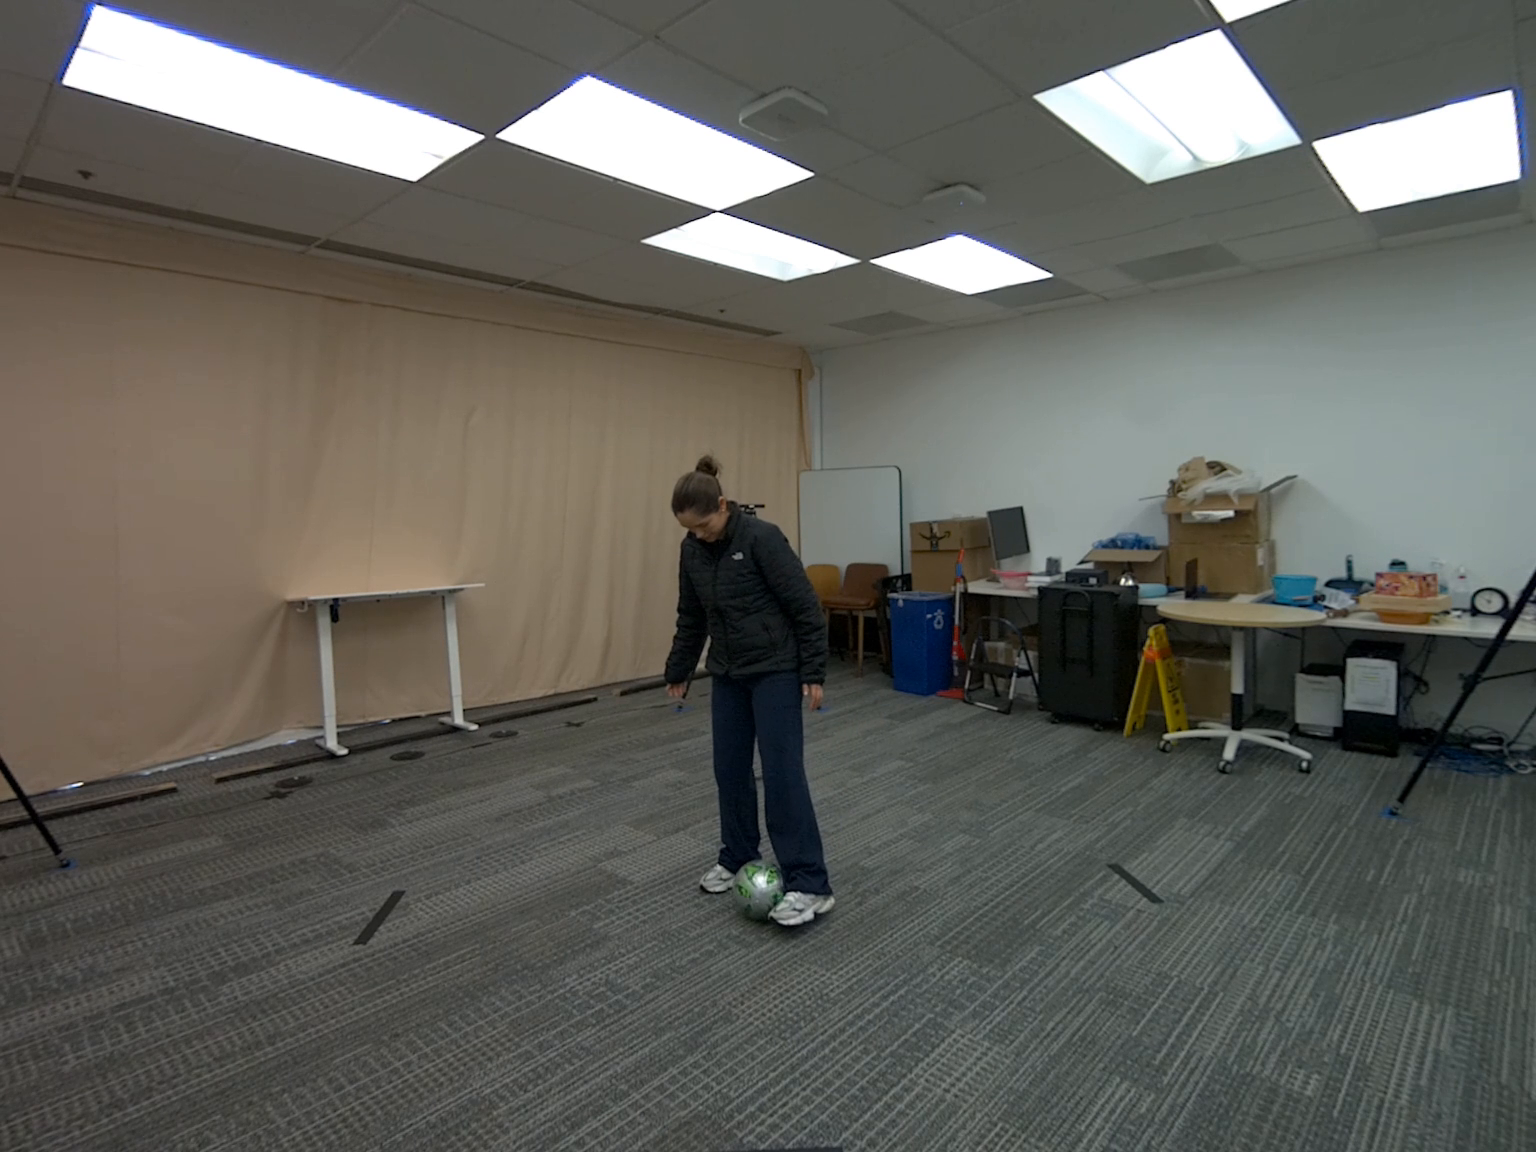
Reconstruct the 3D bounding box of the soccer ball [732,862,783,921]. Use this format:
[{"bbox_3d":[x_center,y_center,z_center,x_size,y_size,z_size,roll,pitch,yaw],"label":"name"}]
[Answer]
[{"bbox_3d":[-0.024,1.062,2.840,0.187,0.187,0.188,-1,4,-2],"label":"soccer ball"}]
